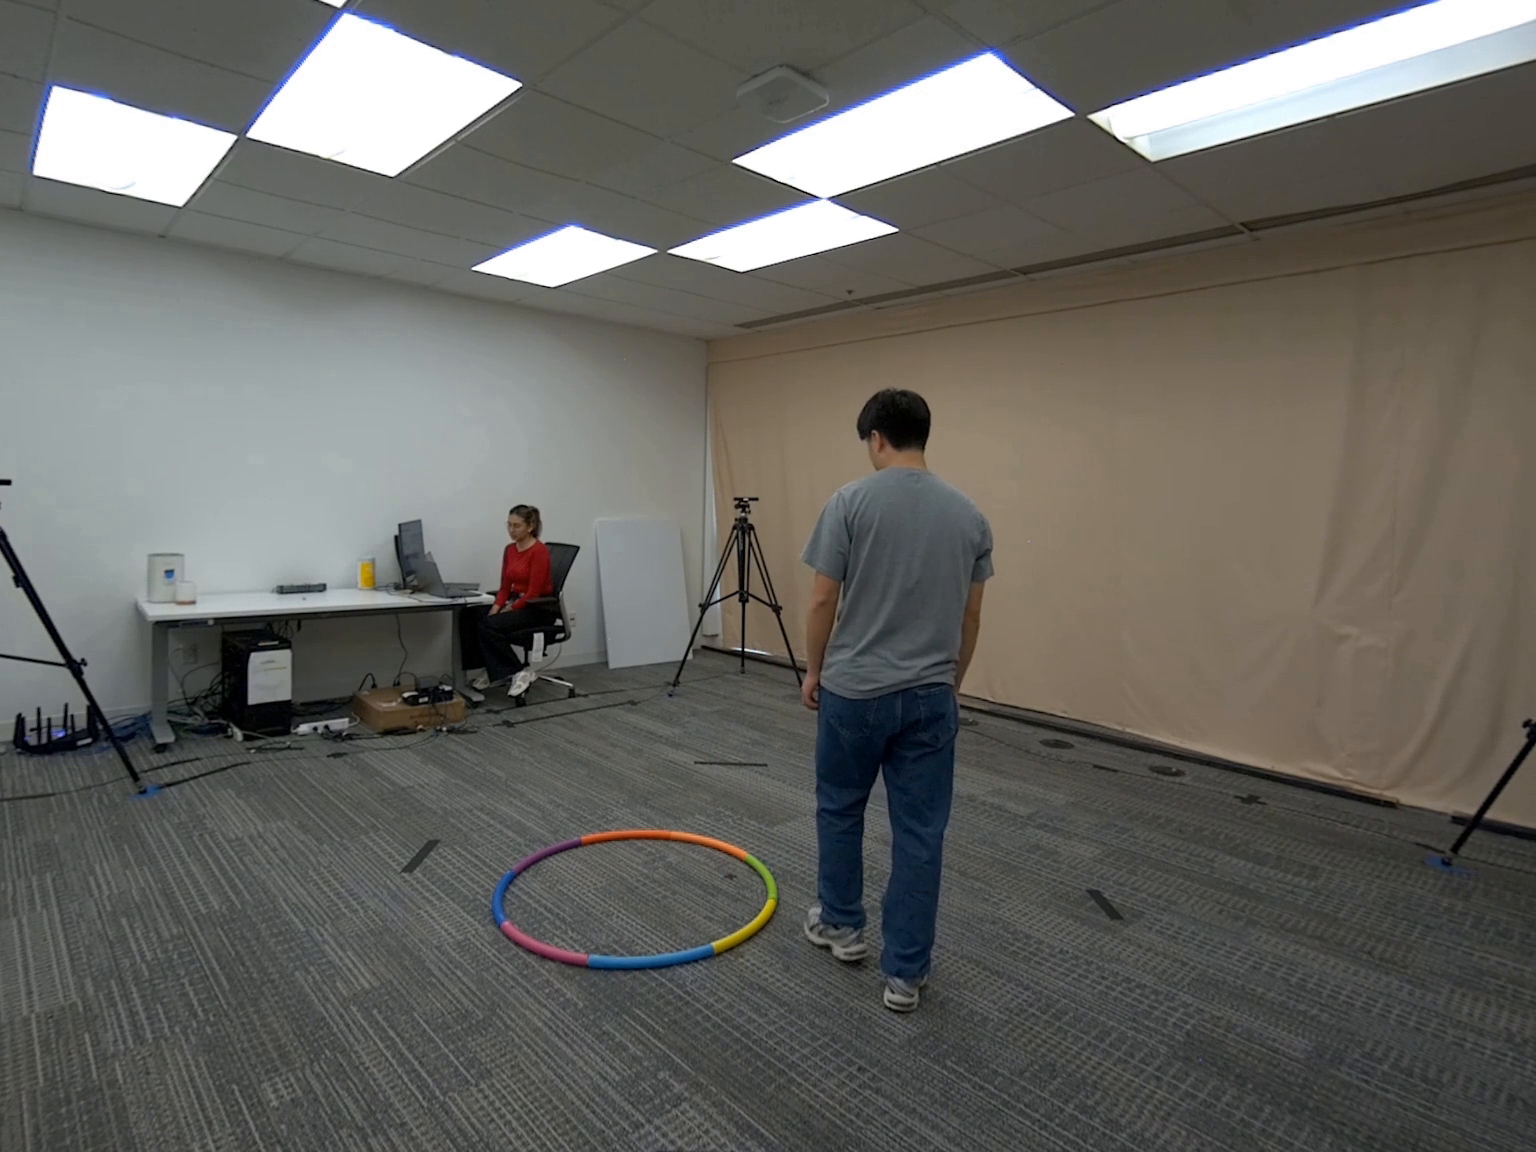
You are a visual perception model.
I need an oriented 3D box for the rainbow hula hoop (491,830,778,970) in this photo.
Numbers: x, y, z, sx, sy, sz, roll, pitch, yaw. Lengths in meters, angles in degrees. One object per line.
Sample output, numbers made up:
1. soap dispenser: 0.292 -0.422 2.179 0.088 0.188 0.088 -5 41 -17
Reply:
1. rainbow hula hoop: -0.464 1.081 2.959 0.978 0.035 0.982 1 5 -1
